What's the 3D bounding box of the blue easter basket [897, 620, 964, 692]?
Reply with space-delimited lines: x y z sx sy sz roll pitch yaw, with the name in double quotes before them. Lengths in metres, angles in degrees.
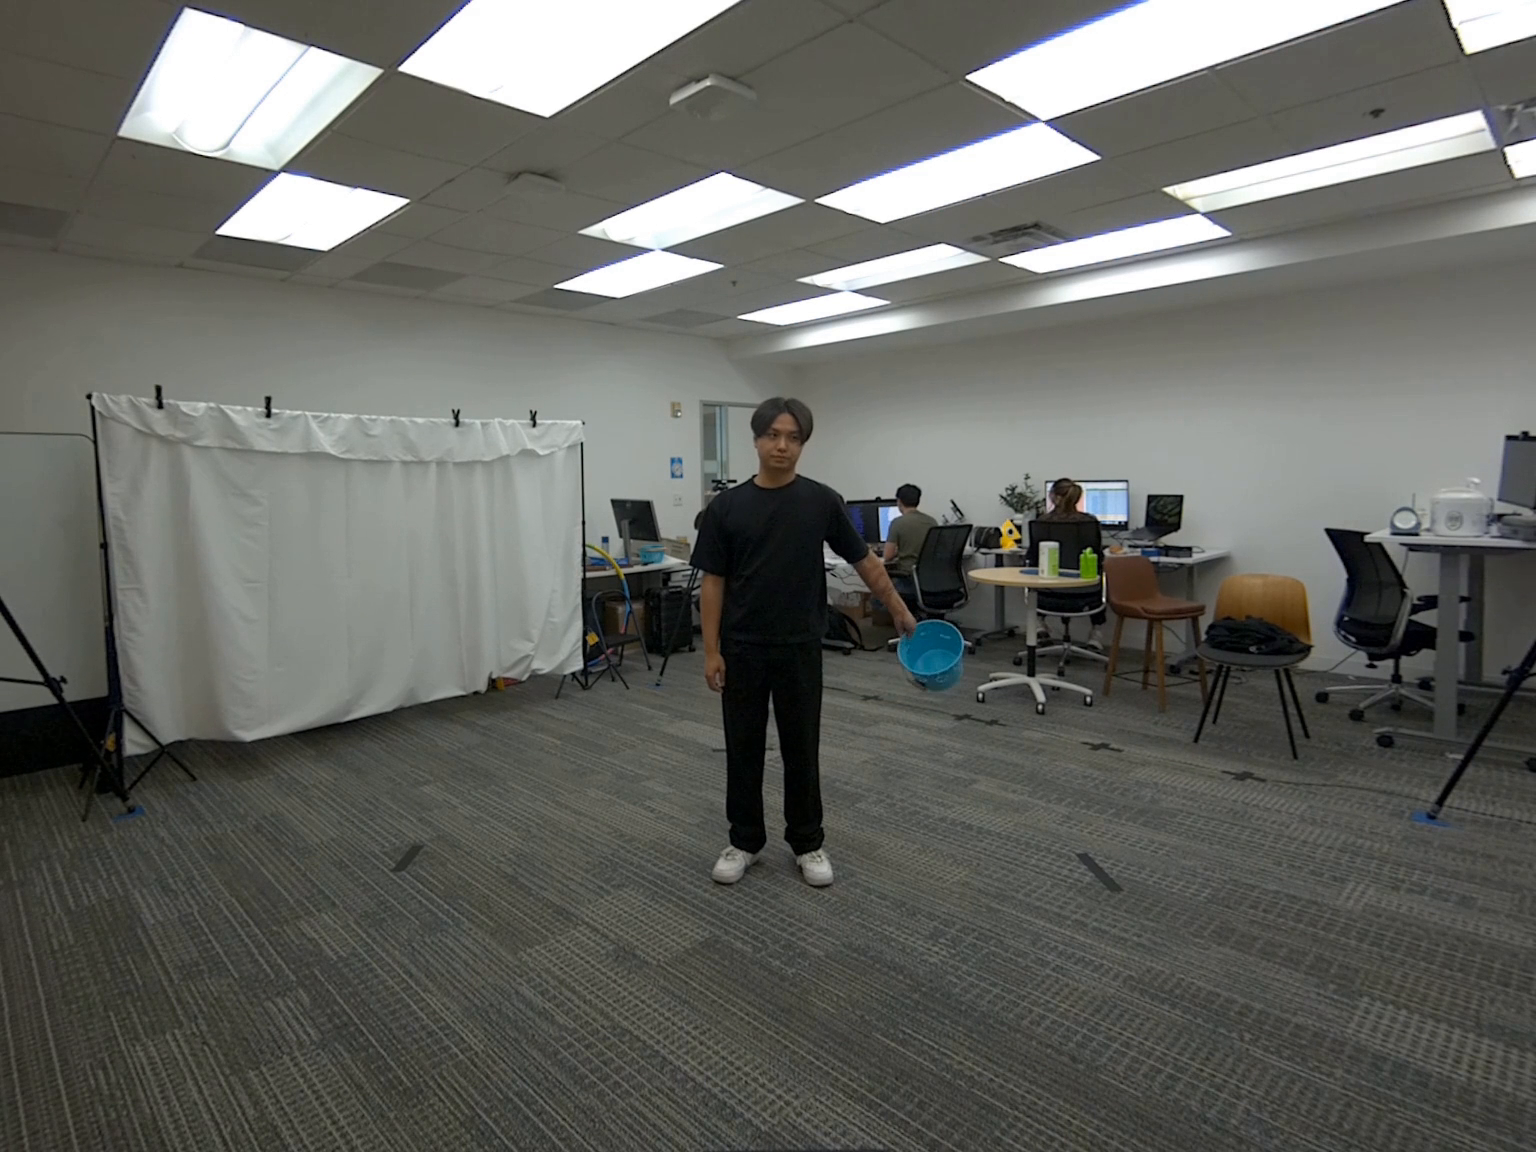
"blue easter basket" 0.585 0.307 3.077 0.246 0.150 0.250 -14 45 13
